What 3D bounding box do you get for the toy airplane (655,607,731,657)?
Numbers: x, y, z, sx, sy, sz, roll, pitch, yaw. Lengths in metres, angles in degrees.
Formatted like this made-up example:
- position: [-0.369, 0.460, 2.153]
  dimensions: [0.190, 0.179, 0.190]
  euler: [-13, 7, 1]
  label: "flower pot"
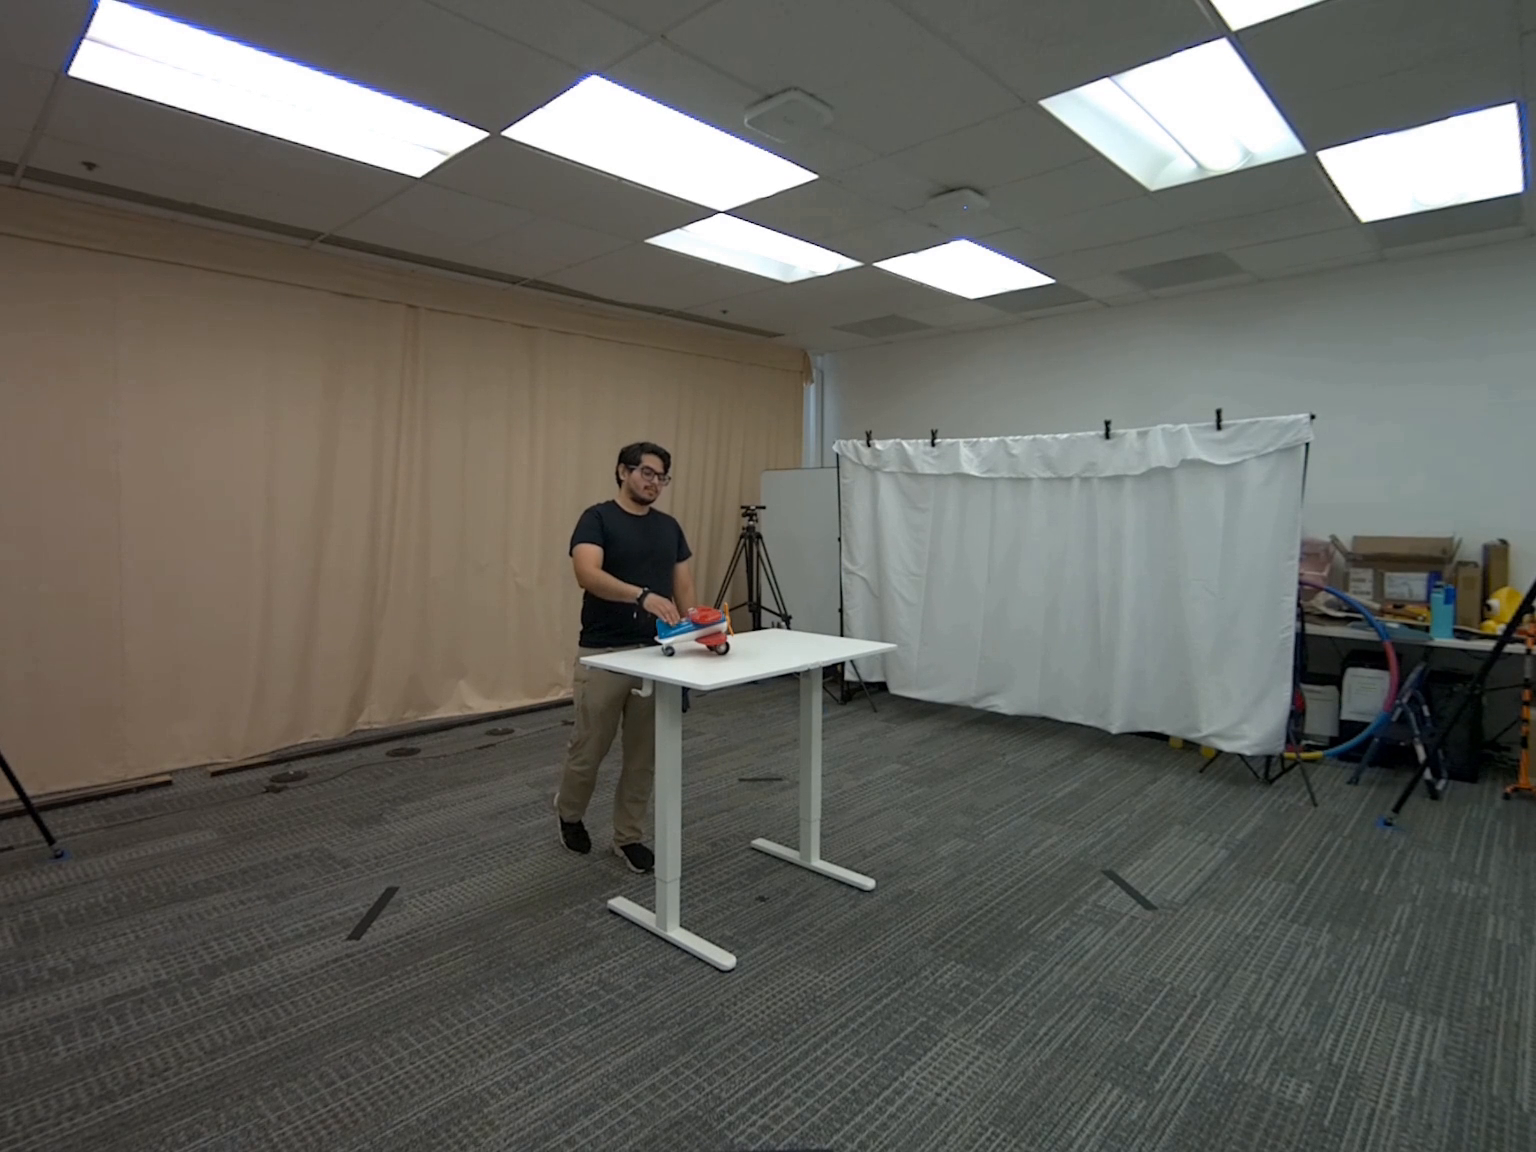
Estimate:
- position: [-0.236, 0.190, 2.852]
  dimensions: [0.259, 0.156, 0.251]
  euler: [3, 3, 39]
  label: "toy airplane"
